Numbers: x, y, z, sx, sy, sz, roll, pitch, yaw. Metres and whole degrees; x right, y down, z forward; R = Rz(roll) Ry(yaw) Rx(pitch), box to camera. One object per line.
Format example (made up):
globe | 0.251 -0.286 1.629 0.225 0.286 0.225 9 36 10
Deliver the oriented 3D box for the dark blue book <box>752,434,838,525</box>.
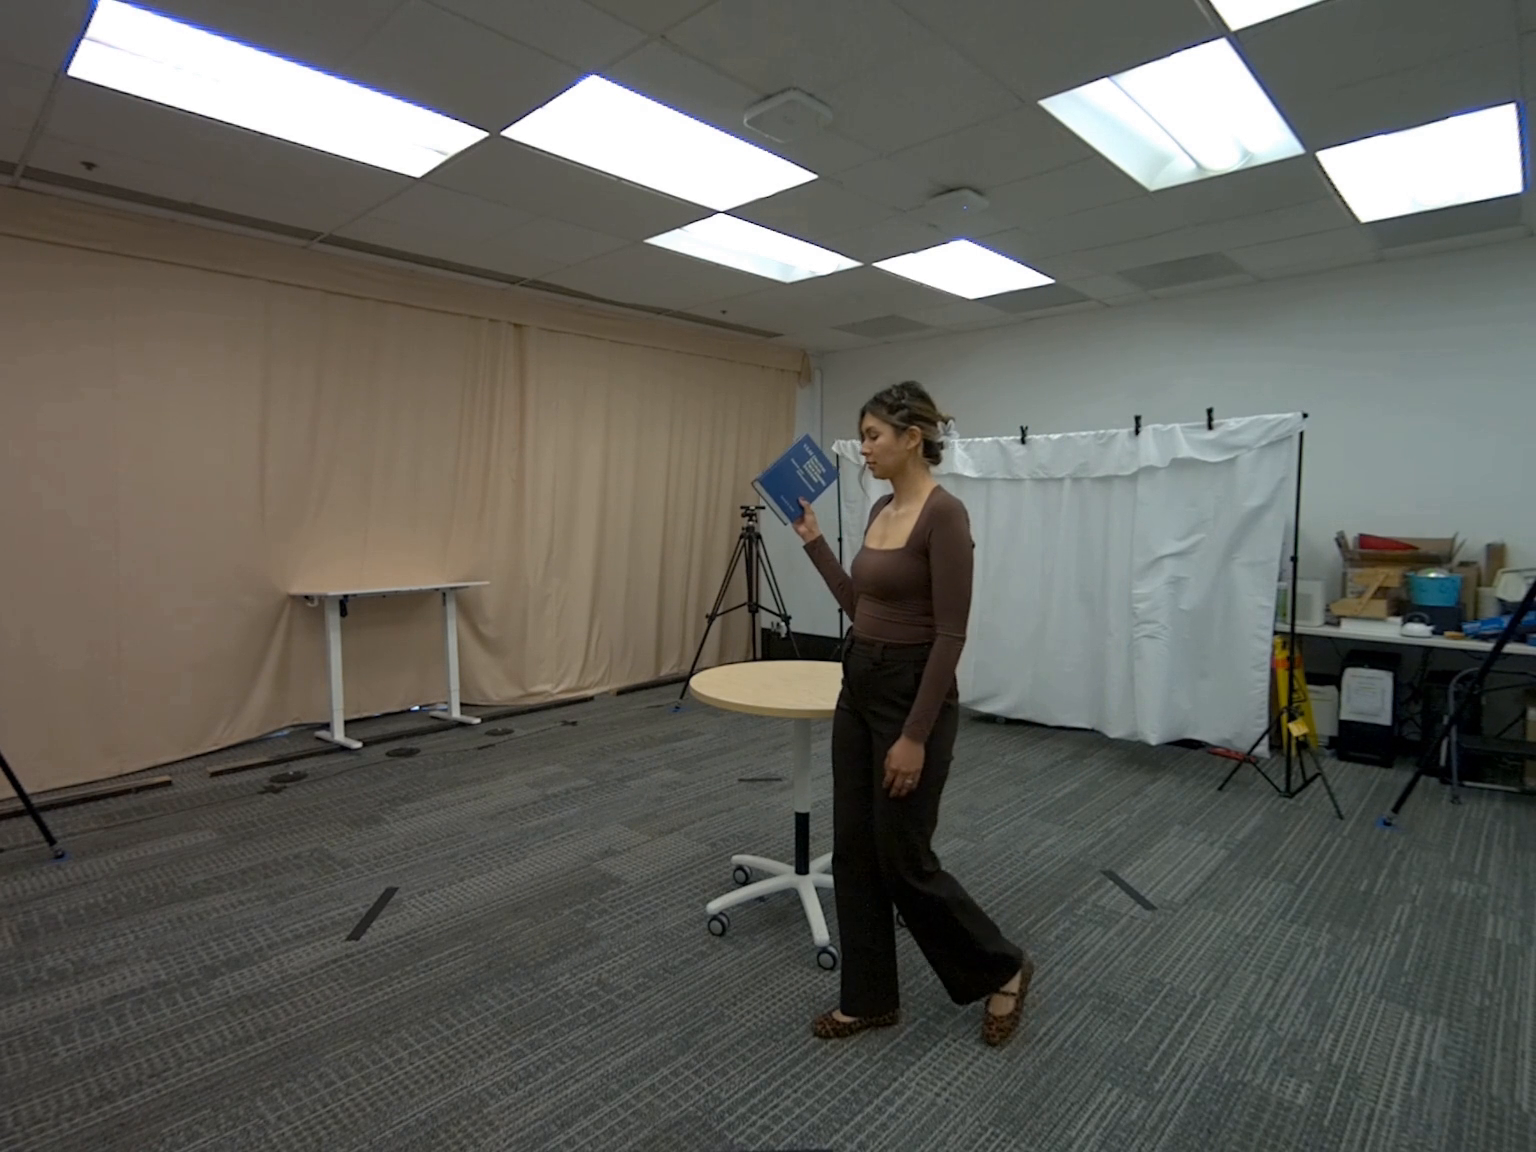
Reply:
dark blue book | 0.094 -0.283 2.469 0.243 0.162 0.046 -44 5 -28
